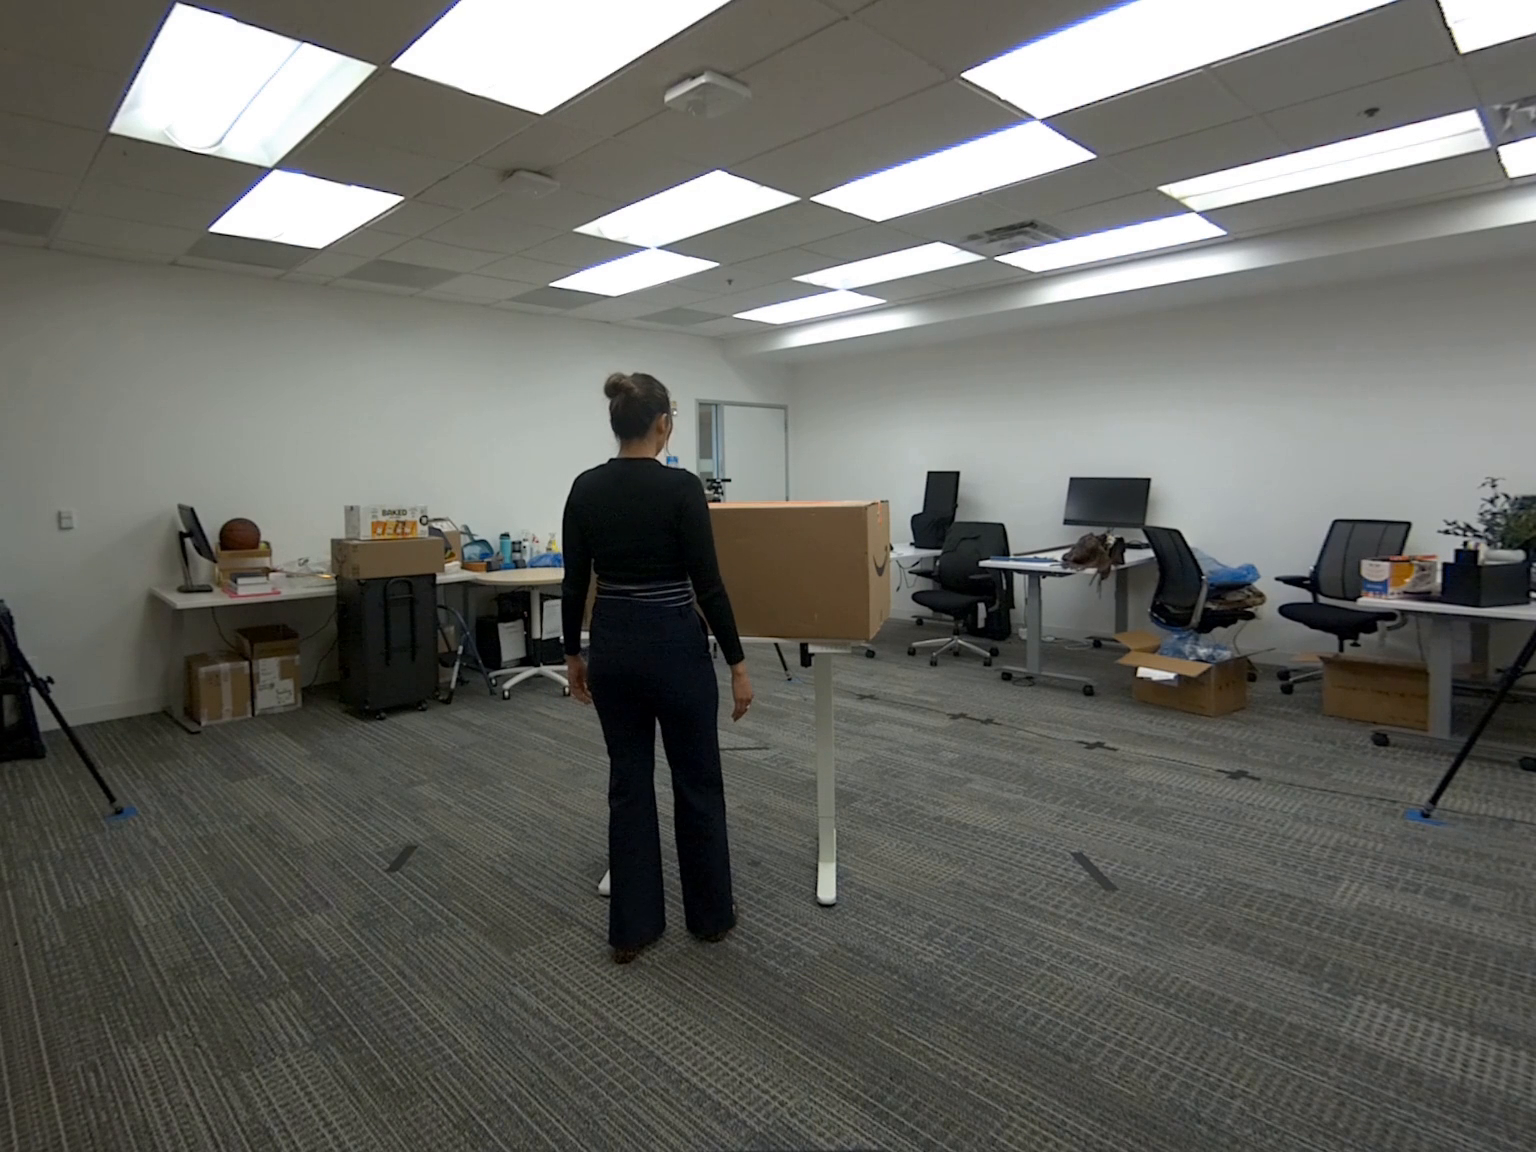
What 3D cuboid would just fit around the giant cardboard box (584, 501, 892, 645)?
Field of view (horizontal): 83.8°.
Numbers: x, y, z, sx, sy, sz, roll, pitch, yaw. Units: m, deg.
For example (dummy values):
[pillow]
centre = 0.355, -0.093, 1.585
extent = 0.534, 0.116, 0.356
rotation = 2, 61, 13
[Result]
[giant cardboard box]
centre = -0.103, -0.047, 3.055
extent = 1.044, 0.425, 0.570
rotation = 0, 5, 18
